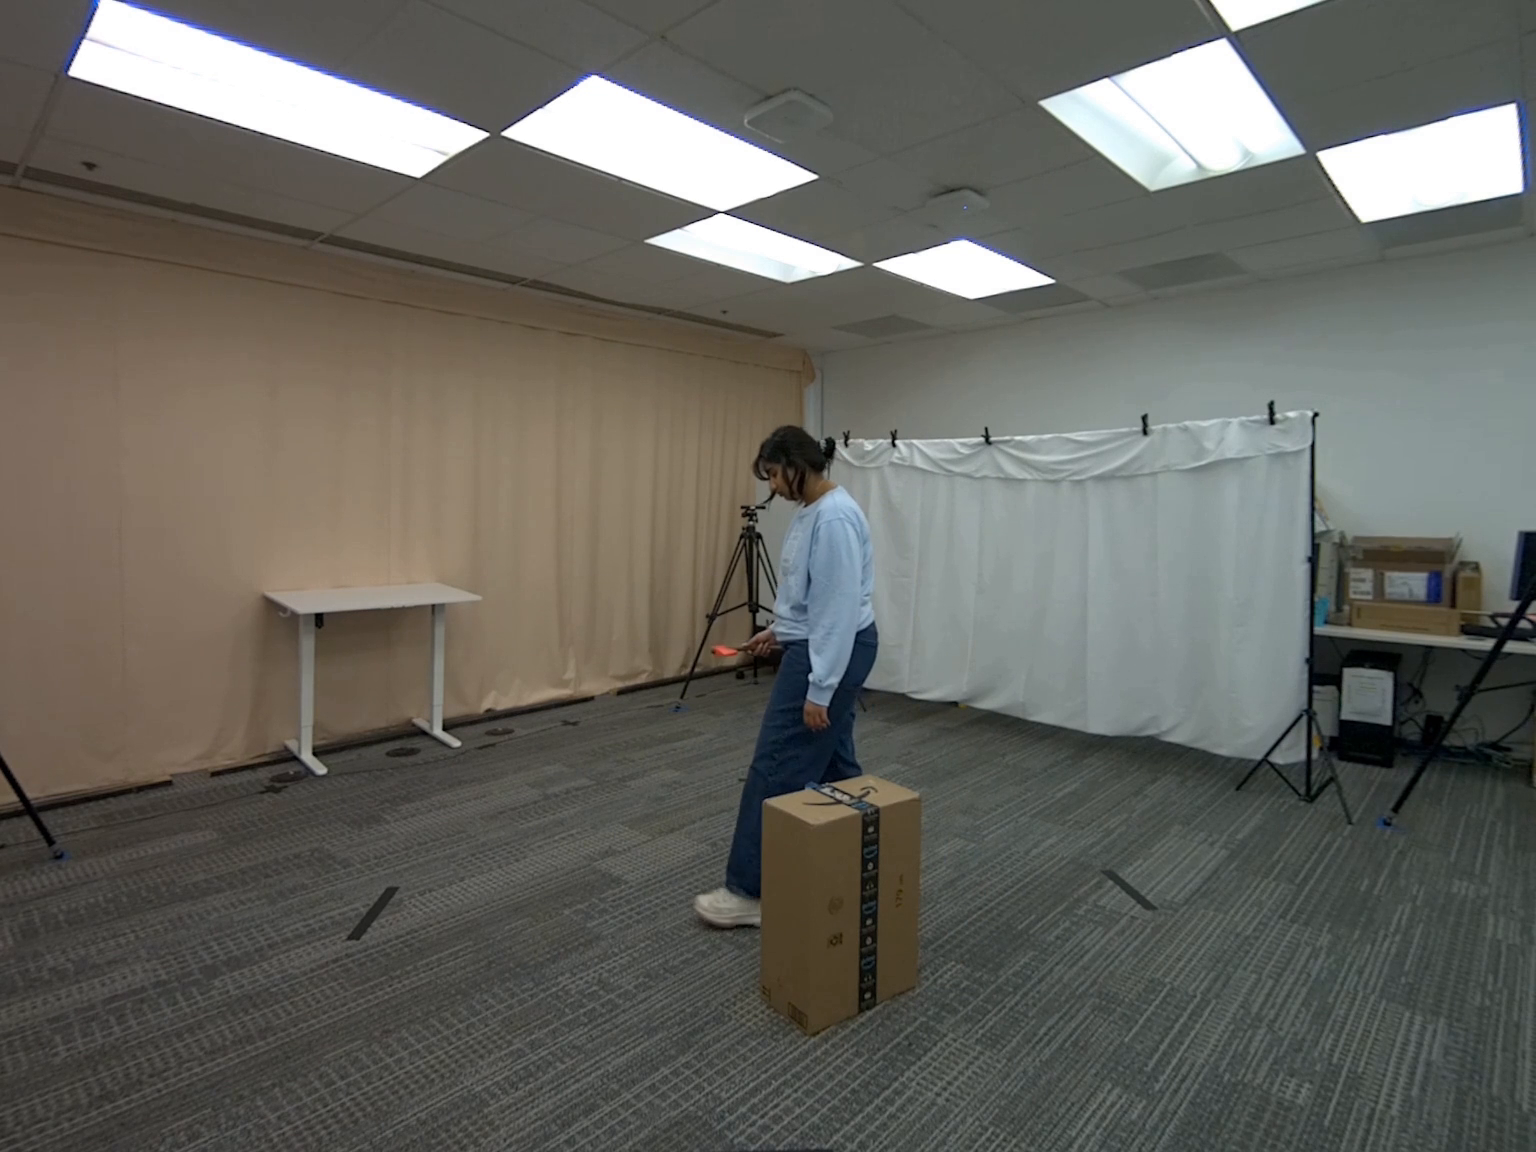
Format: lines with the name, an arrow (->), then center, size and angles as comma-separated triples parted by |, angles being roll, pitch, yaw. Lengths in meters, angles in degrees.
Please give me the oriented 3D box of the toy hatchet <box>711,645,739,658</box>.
toy hatchet -> -0.068, 0.279, 2.996 | 0.272, 0.029, 0.130 | 1, 5, 6
